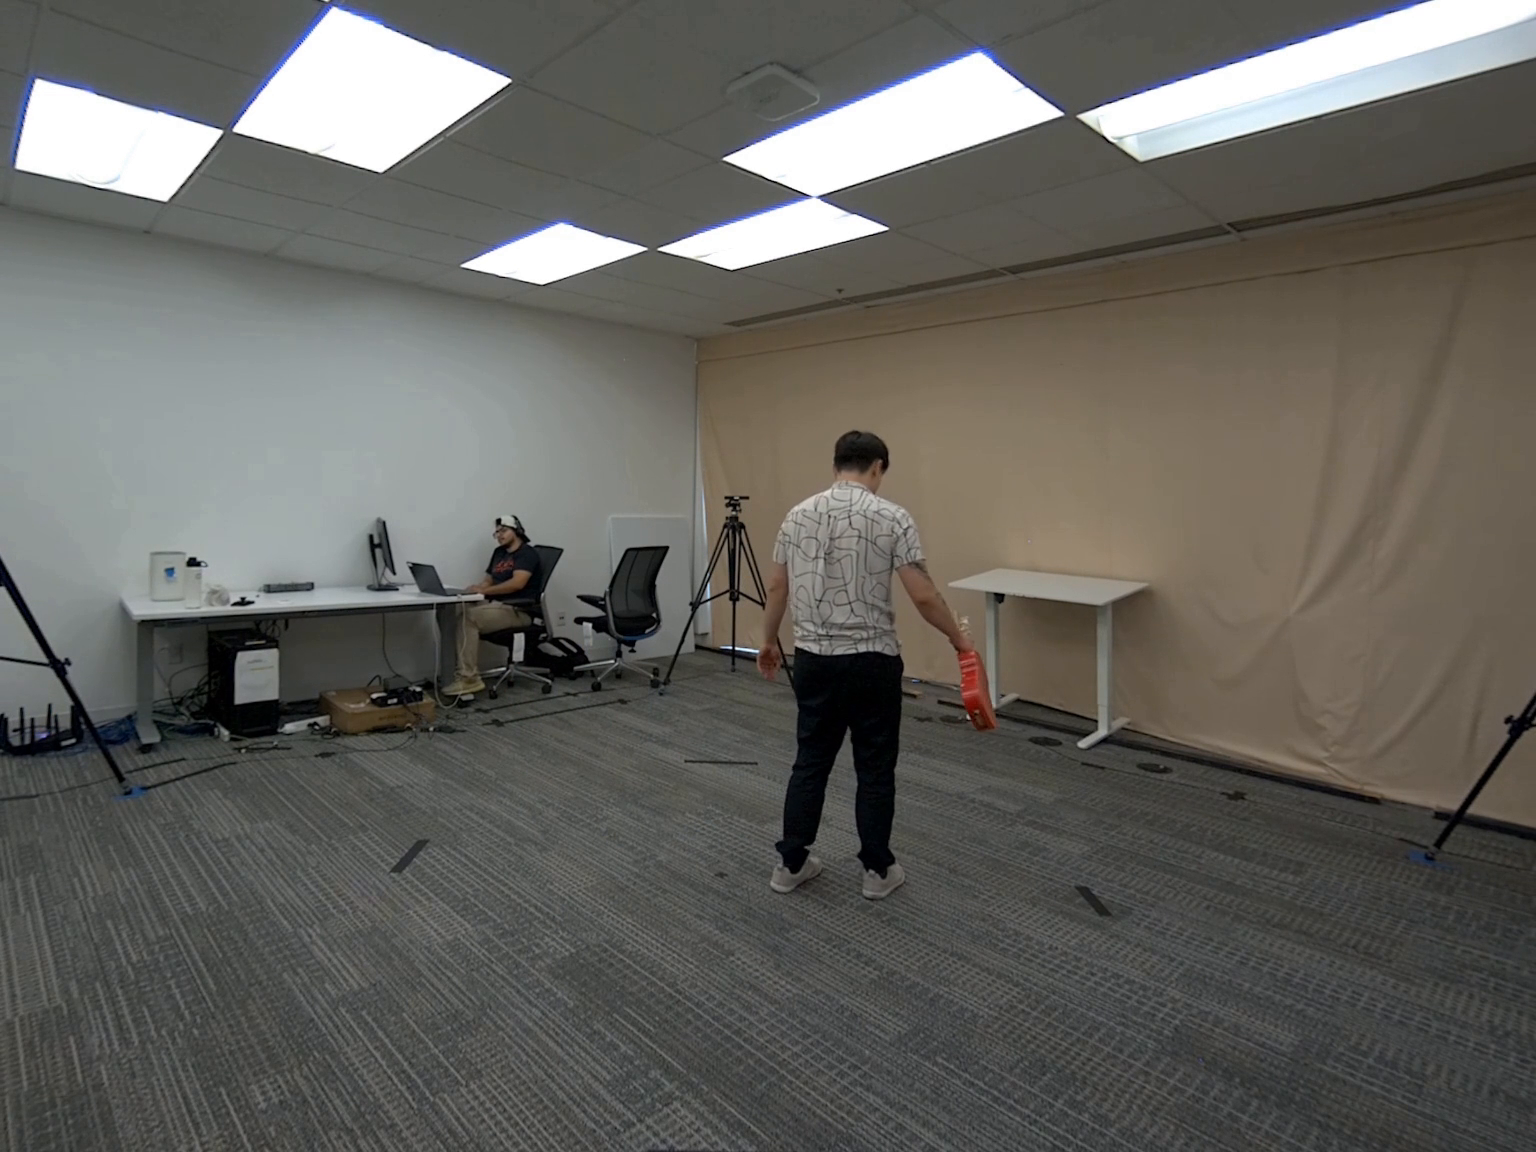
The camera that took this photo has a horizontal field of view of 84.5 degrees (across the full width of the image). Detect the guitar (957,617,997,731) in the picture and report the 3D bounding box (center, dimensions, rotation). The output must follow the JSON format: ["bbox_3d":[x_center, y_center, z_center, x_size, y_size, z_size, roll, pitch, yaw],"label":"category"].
[{"bbox_3d":[0.682,0.290,2.911,0.071,0.508,0.187,-19,-45,22],"label":"guitar"}]
